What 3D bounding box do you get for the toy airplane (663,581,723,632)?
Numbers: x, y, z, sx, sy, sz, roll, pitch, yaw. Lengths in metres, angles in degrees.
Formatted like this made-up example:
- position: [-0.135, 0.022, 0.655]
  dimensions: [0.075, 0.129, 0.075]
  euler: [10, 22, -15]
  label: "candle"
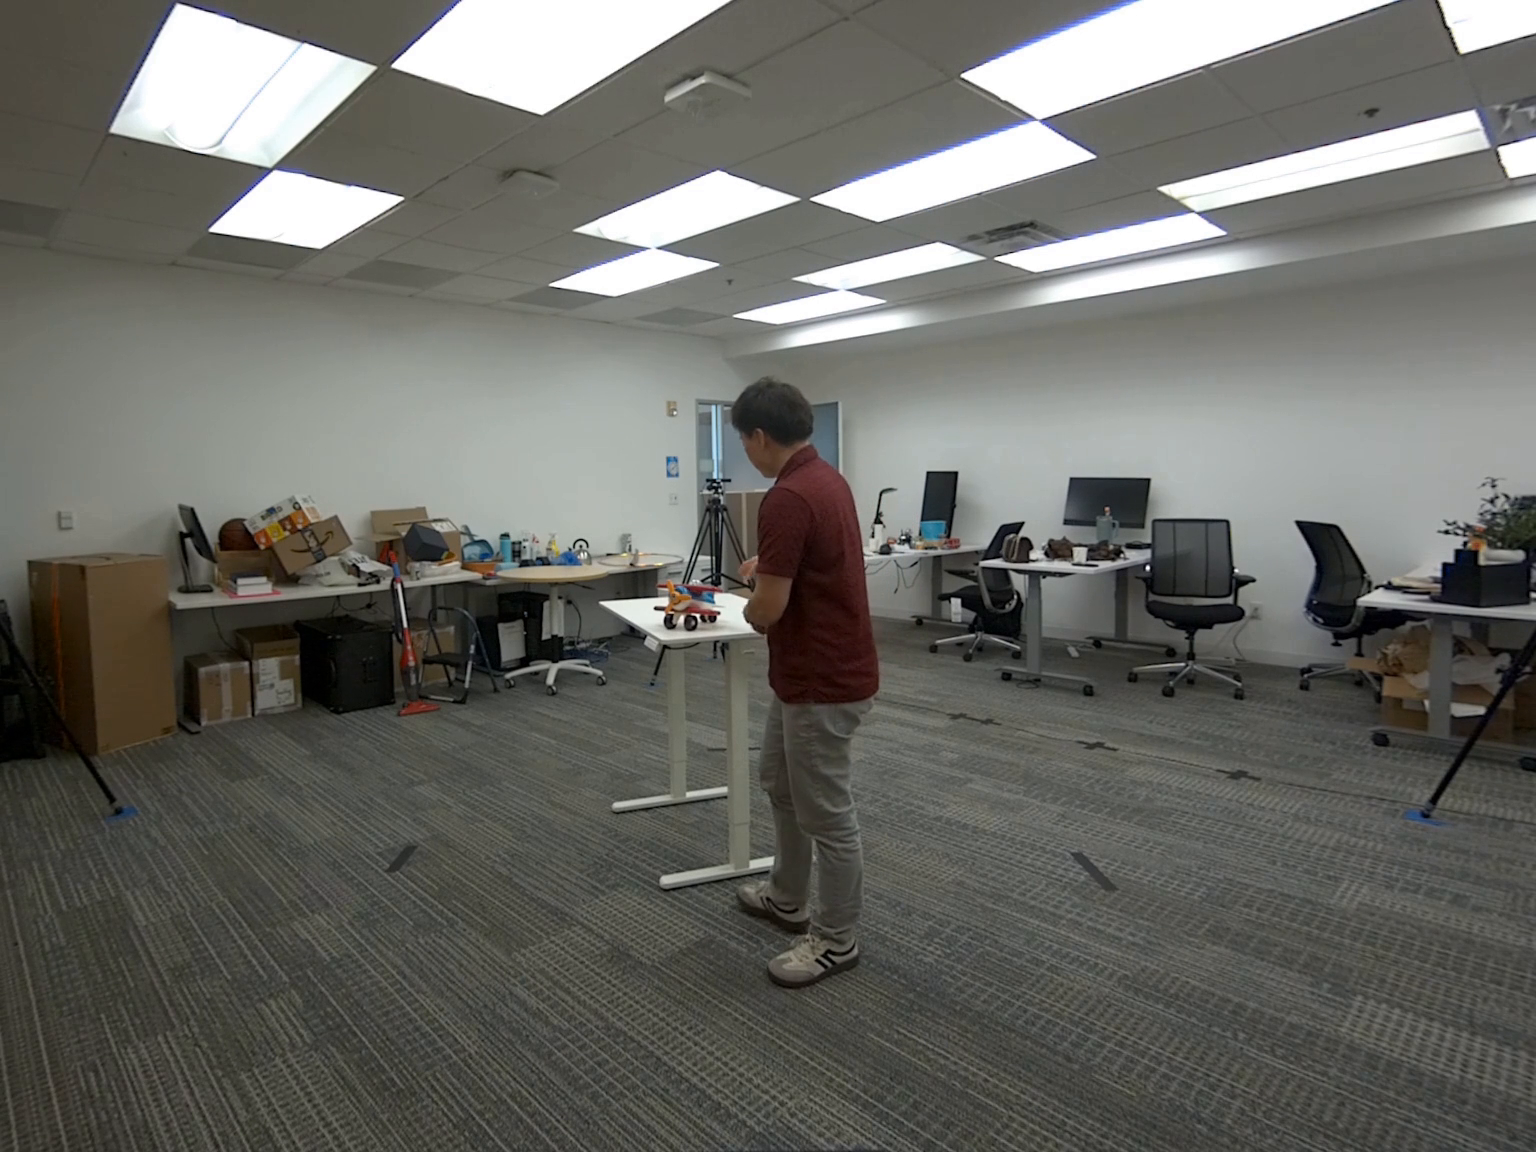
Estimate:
- position: [-0.274, 0.099, 3.011]
  dimensions: [0.252, 0.156, 0.259]
  euler: [-1, 6, 2]
  label: "toy airplane"
